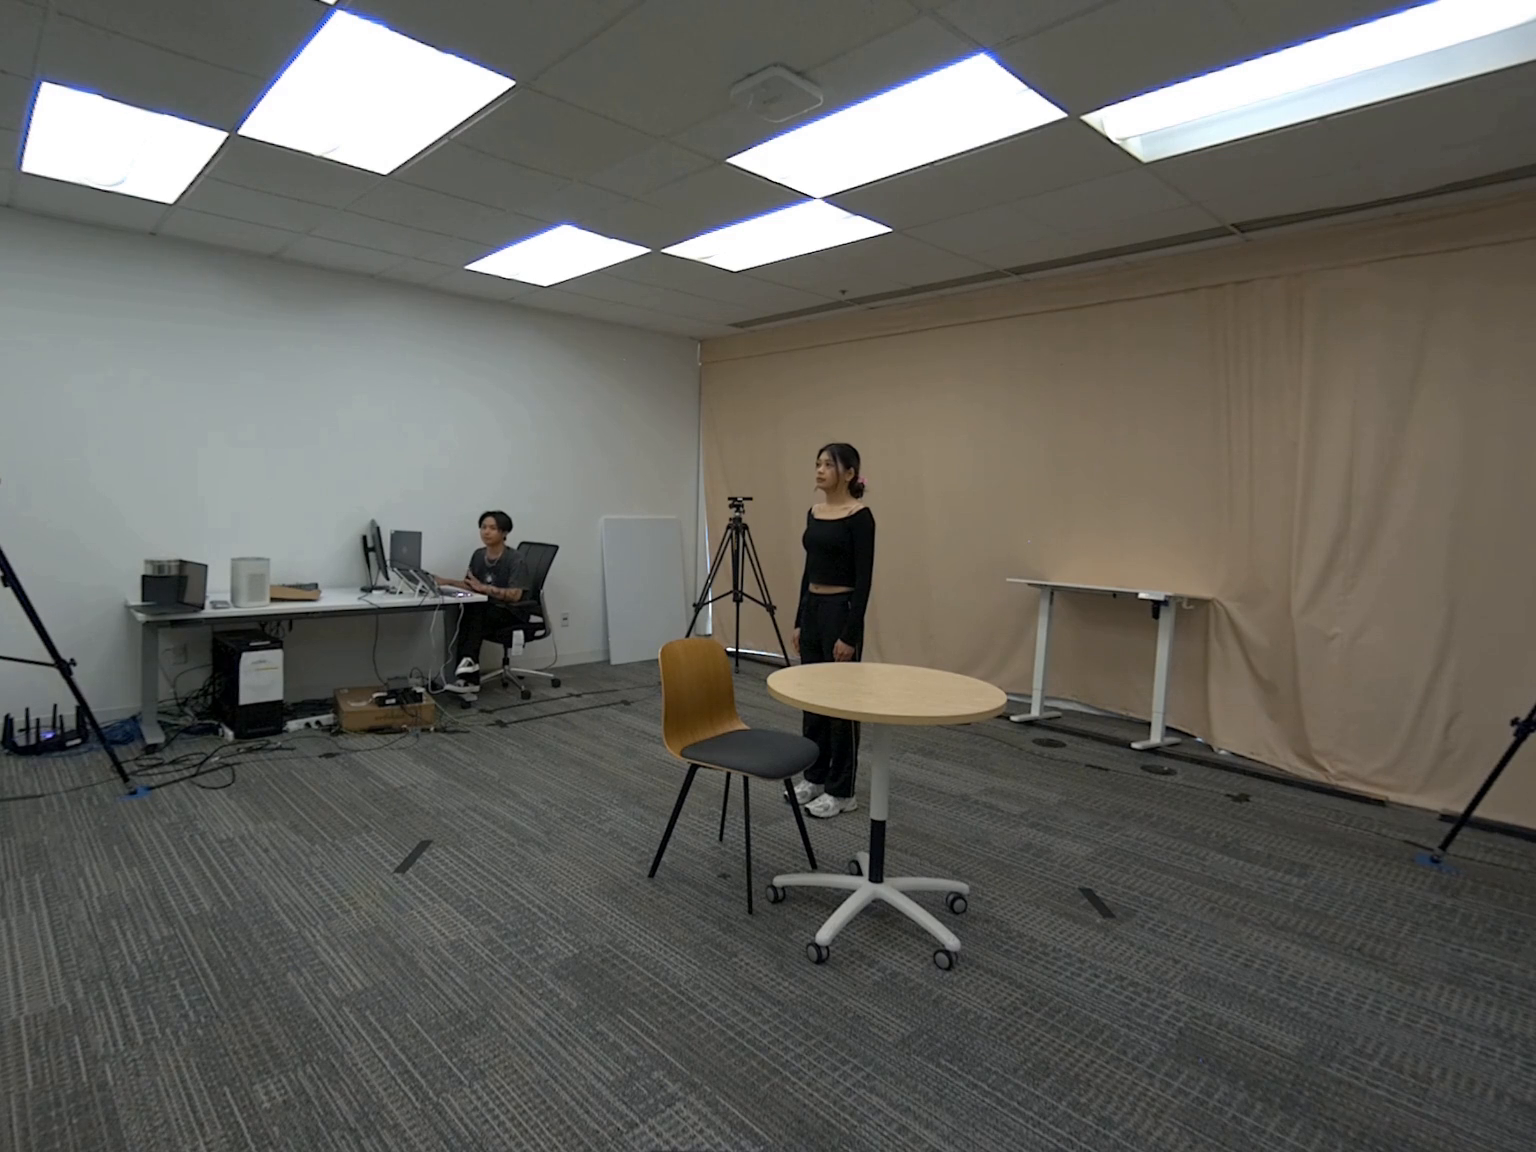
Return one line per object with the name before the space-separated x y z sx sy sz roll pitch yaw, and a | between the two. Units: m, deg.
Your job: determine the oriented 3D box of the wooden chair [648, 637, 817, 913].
wooden chair | -0.114 0.680 3.091 0.534 0.877 0.468 -2 1 35
